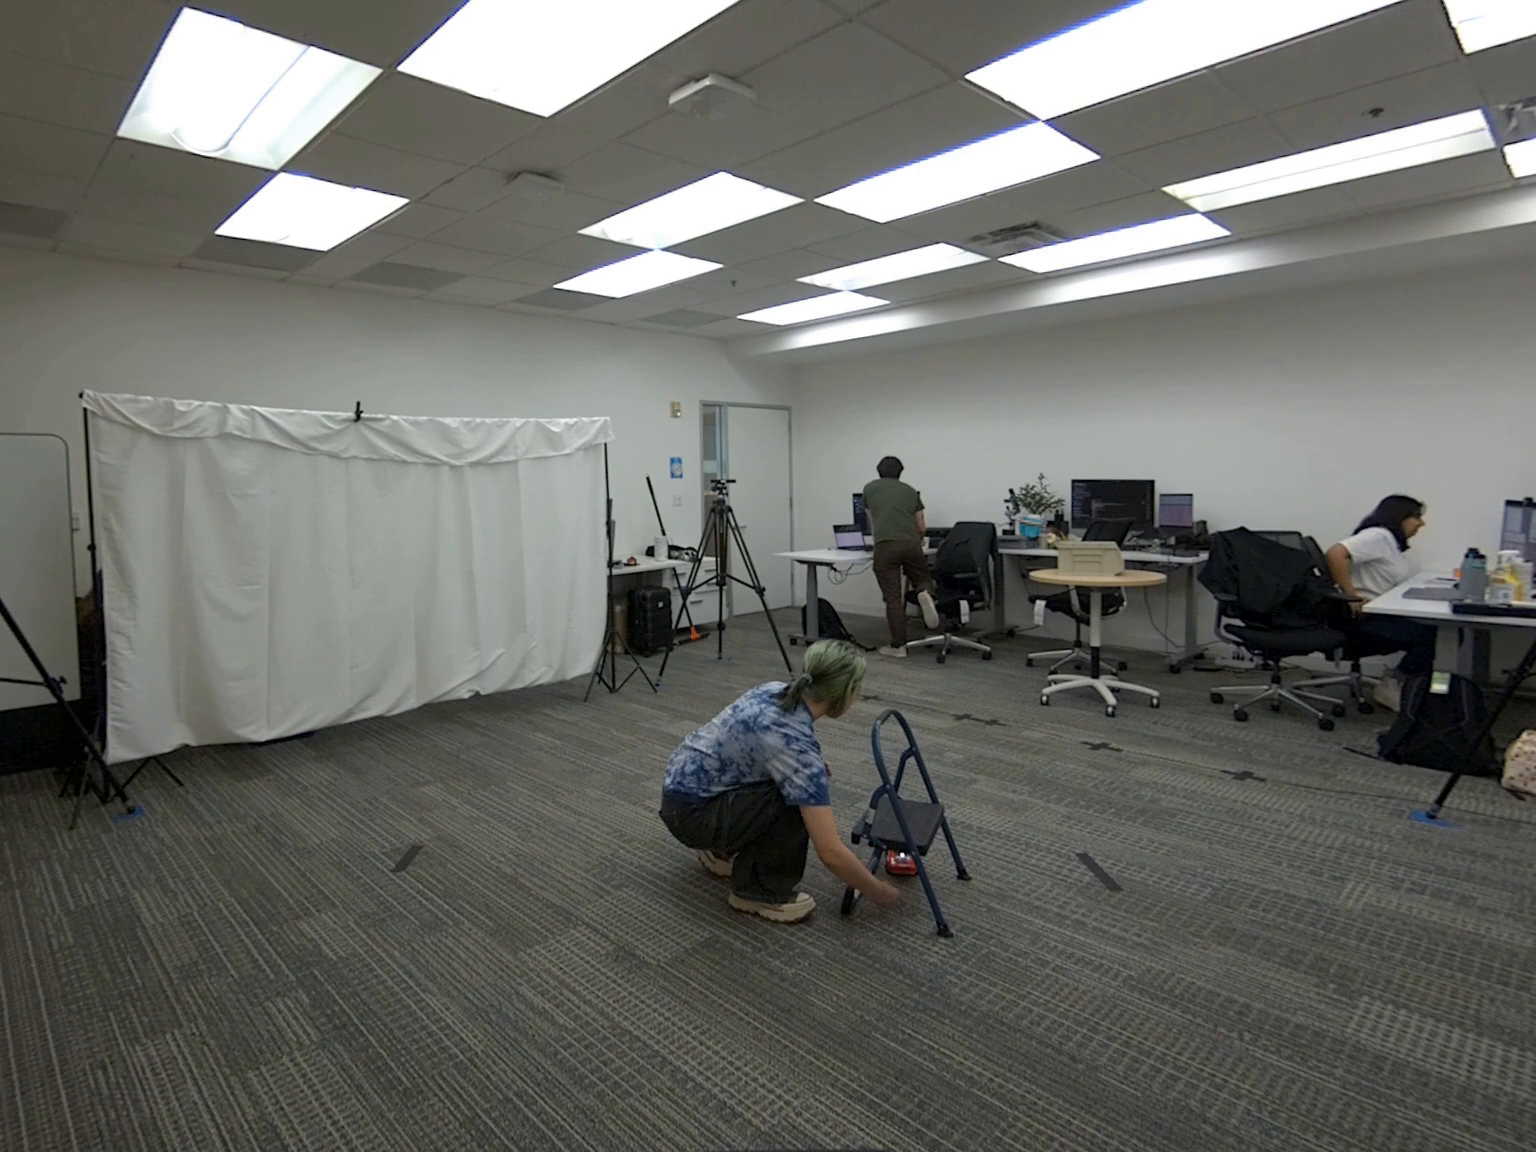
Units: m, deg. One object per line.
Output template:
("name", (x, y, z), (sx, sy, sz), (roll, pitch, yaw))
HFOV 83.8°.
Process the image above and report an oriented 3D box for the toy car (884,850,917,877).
("toy car", (0.474, 1.012, 3.069), (0.131, 0.083, 0.252), (1, -4, 5))
